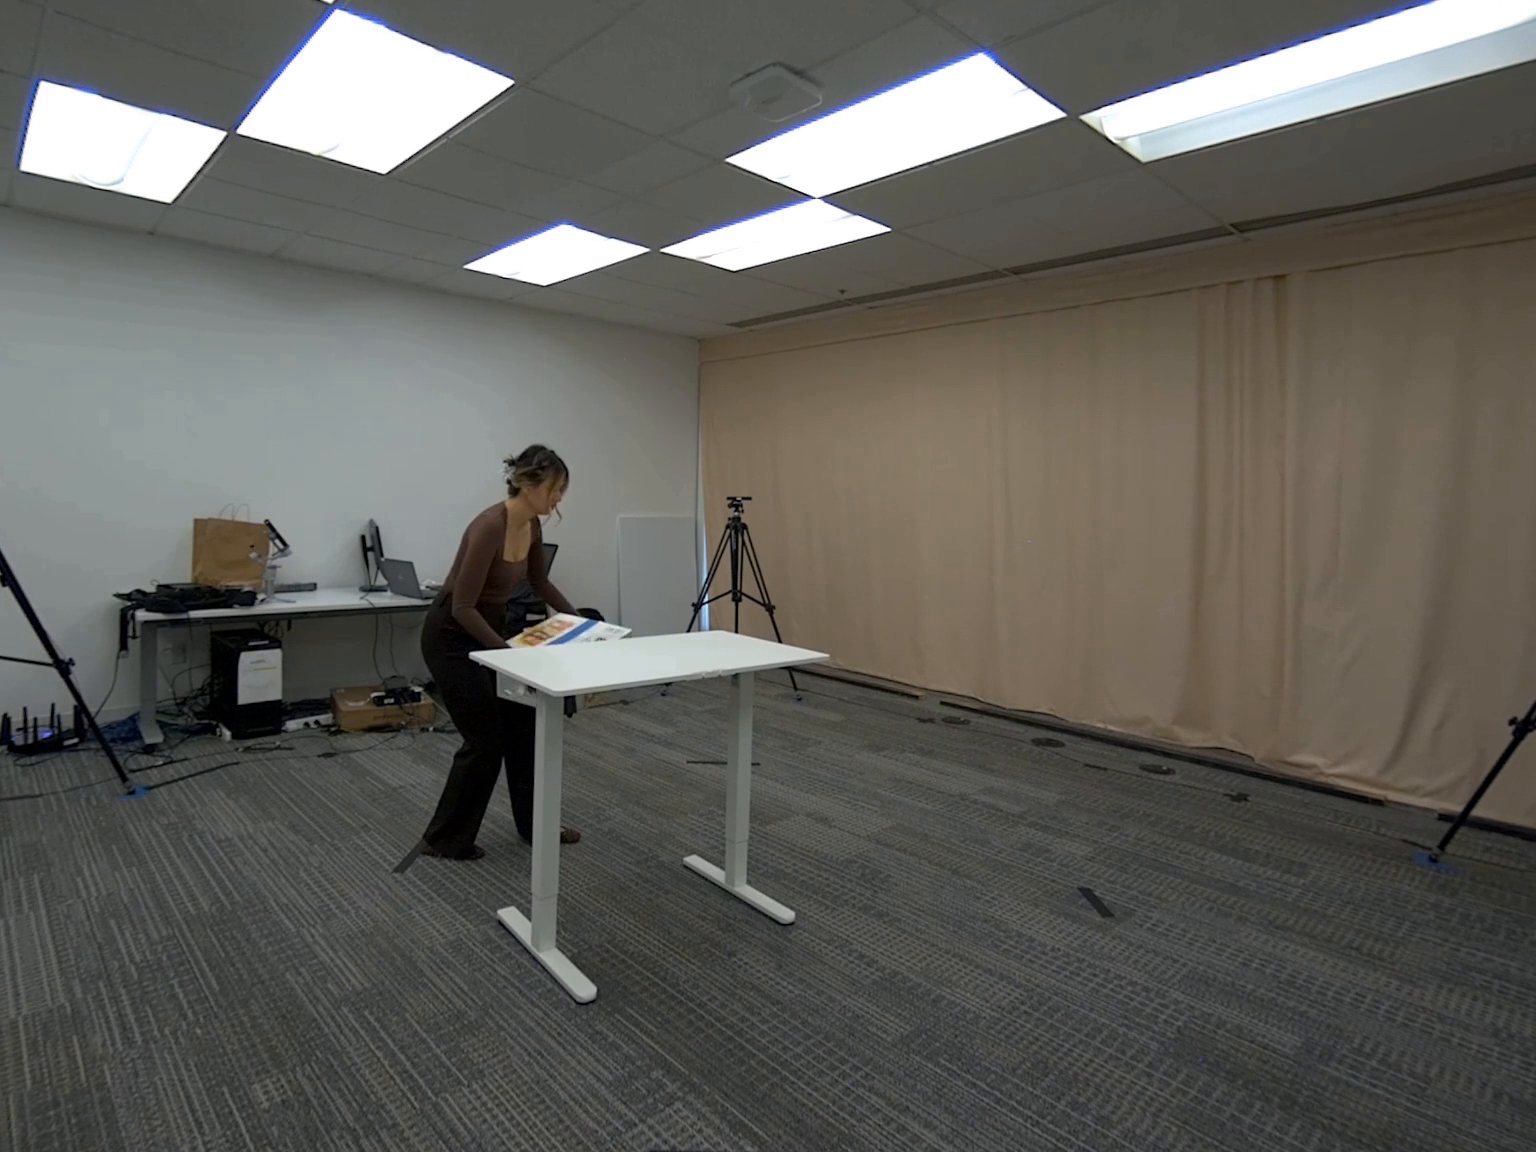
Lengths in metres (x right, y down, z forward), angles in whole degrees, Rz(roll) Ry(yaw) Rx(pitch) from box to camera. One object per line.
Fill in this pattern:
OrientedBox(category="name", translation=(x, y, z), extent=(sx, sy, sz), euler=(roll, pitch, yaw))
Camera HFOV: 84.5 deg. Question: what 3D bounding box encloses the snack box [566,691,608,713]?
OrientedBox(category="snack box", translation=(-0.773, 0.328, 3.186), extent=(0.346, 0.204, 0.402), euler=(10, 16, 21))
